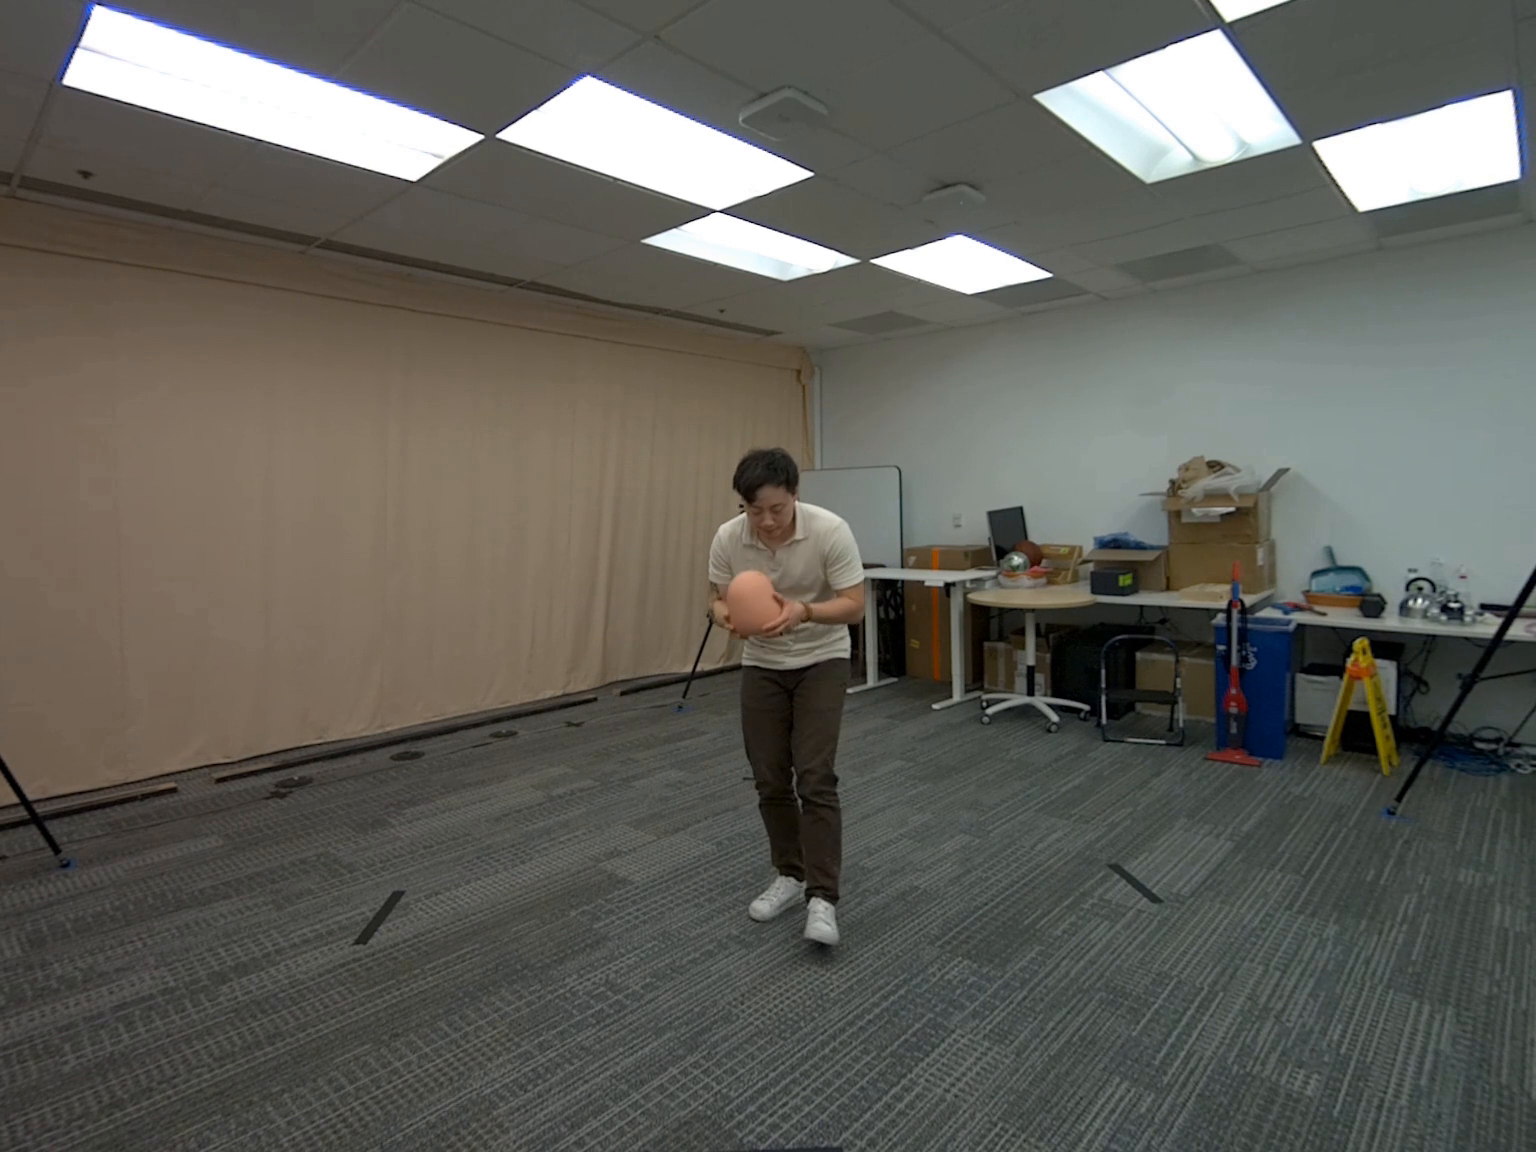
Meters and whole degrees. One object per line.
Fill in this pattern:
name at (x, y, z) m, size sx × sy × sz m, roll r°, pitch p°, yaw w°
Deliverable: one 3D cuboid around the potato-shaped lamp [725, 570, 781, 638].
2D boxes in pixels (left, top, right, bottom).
potato-shaped lamp at (-0.039, 0.093, 2.577) m, size 0.168 × 0.197 × 0.168 m, roll -7°, pitch 5°, yaw 24°
